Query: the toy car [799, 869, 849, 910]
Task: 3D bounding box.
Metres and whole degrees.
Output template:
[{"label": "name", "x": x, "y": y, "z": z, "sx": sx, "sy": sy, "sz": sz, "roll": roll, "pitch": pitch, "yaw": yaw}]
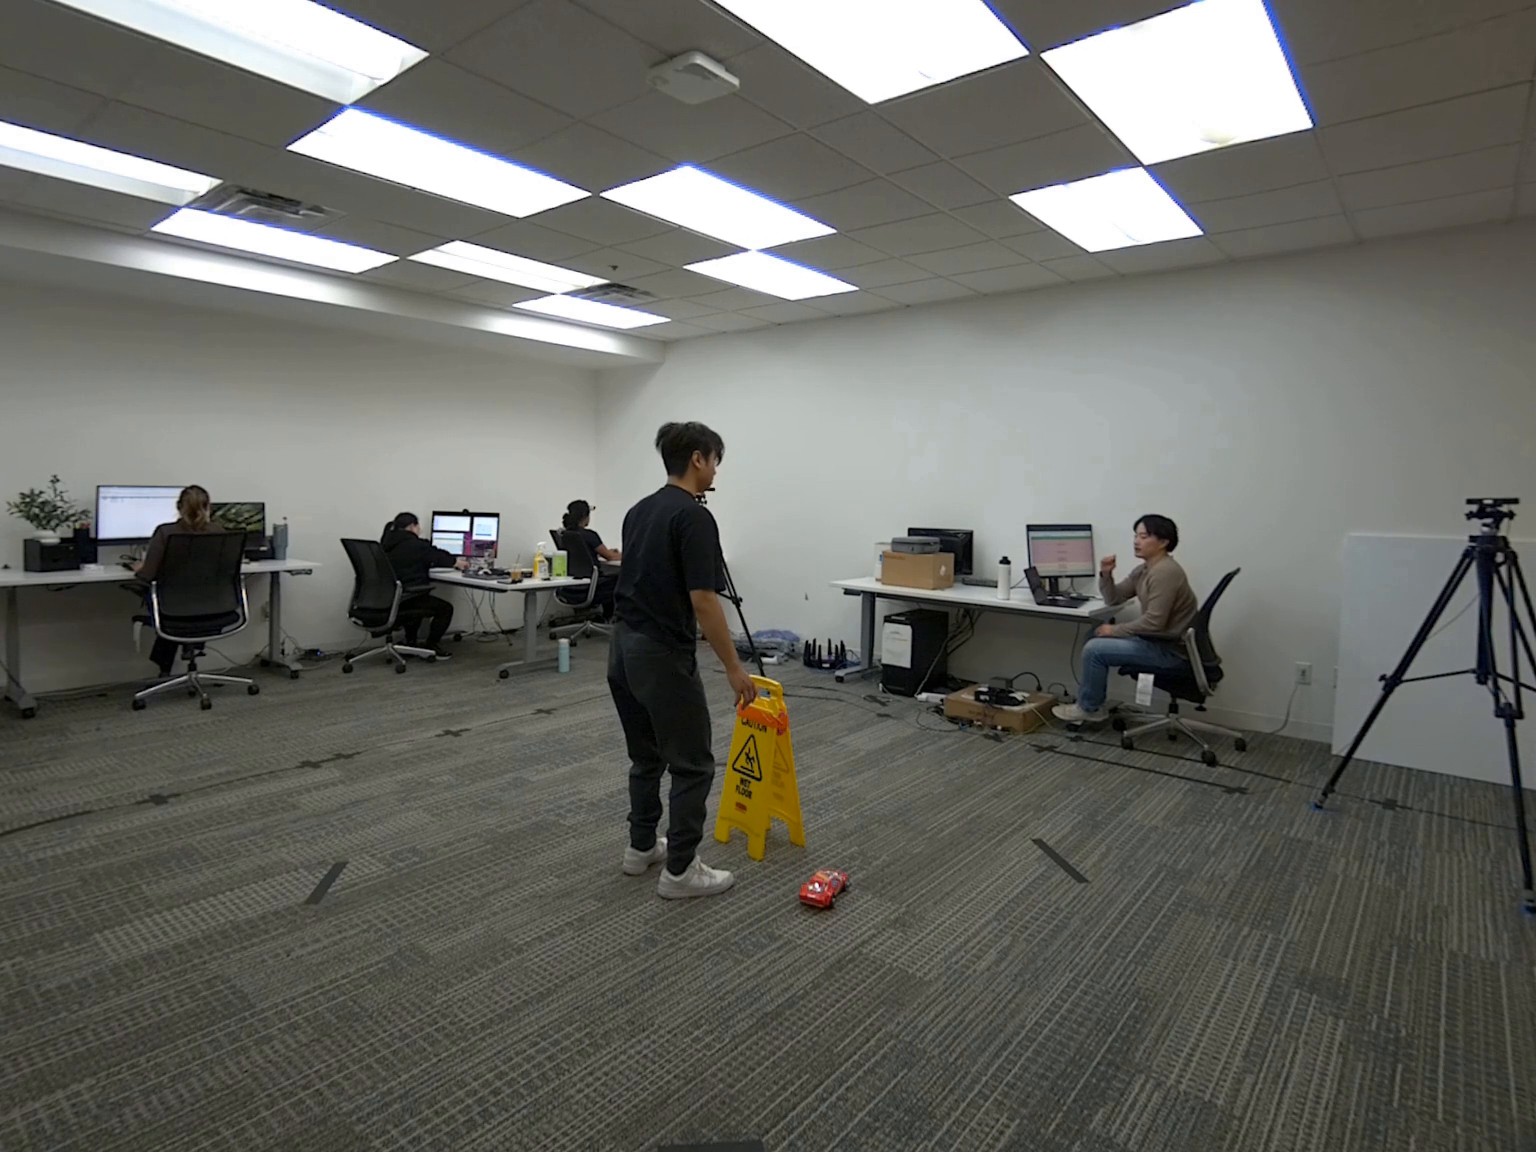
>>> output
[{"label": "toy car", "x": 0.181, "y": 1.067, "z": 2.900, "sx": 0.134, "sy": 0.083, "sz": 0.247, "roll": 5, "pitch": -4, "yaw": 25}]
